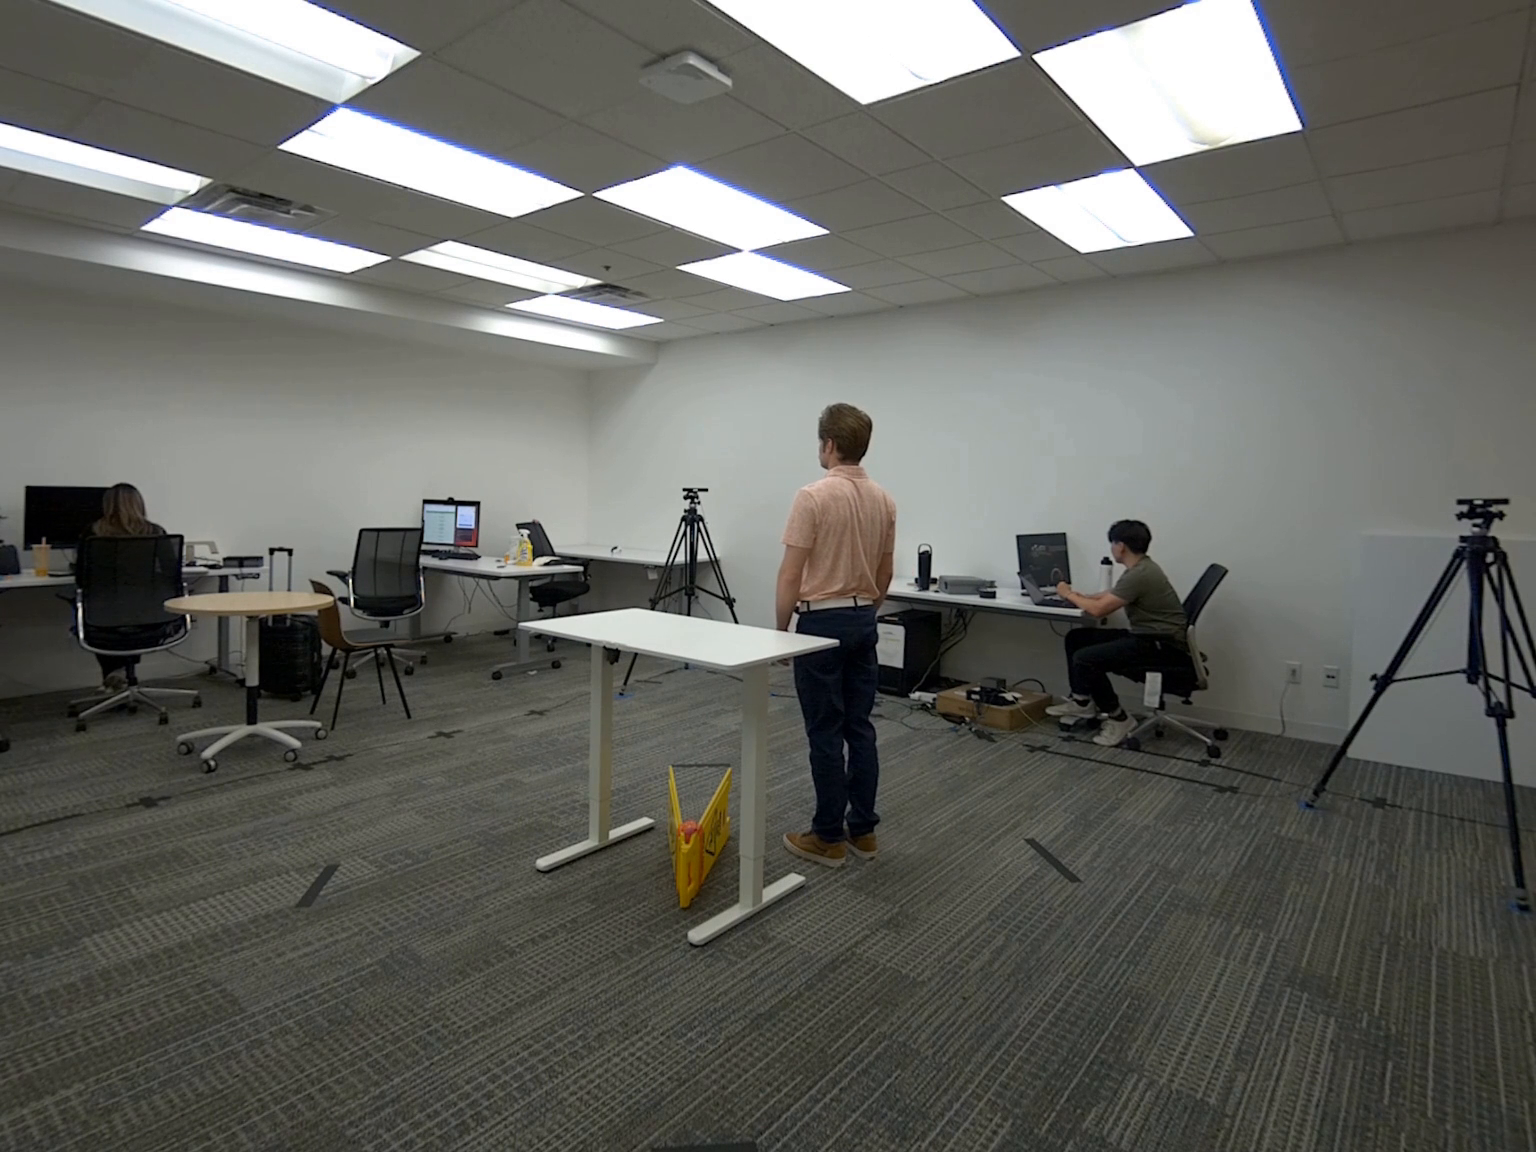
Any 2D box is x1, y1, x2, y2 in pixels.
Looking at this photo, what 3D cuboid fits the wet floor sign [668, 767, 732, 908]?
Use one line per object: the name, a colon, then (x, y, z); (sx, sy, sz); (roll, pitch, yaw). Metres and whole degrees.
wet floor sign: (-0.280, 0.941, 3.096); (0.290, 0.280, 0.649); (1, 9, 1)
